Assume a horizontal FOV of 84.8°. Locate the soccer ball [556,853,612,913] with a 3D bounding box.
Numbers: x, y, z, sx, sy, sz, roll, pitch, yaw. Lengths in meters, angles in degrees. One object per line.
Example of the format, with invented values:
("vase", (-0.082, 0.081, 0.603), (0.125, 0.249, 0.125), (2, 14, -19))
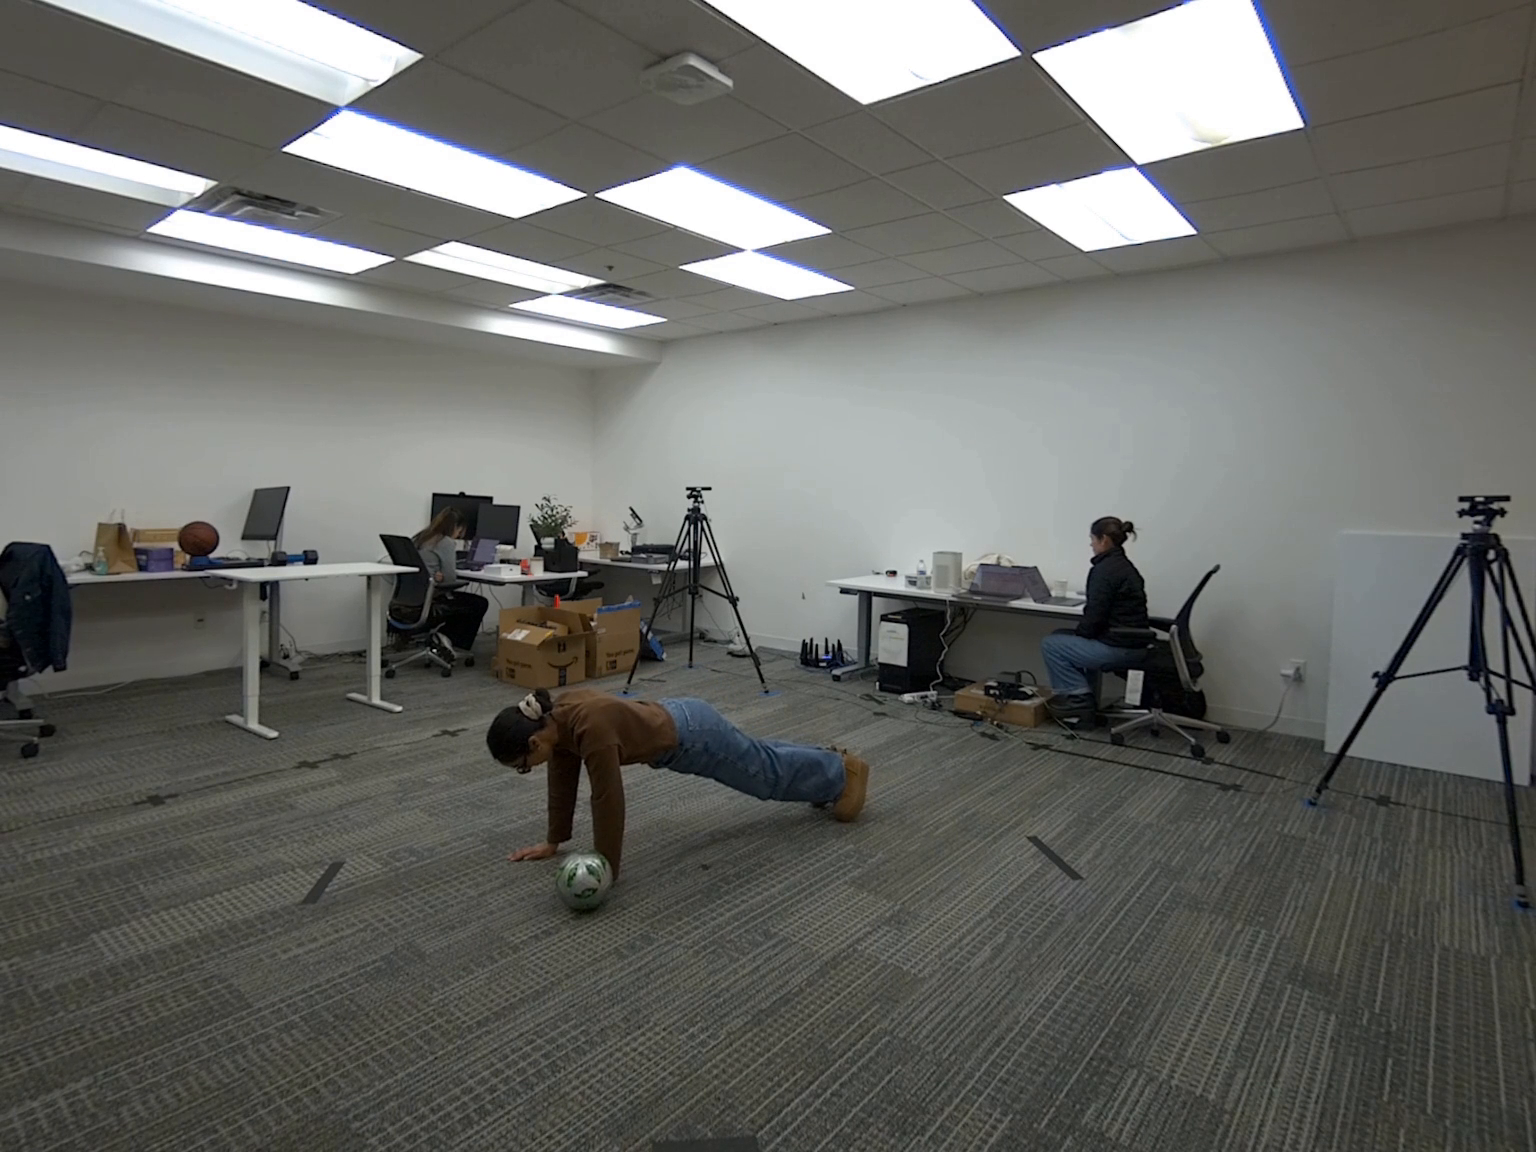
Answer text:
("soccer ball", (-0.616, 1.000, 2.800), (0.187, 0.187, 0.188), (1, 4, -2))
